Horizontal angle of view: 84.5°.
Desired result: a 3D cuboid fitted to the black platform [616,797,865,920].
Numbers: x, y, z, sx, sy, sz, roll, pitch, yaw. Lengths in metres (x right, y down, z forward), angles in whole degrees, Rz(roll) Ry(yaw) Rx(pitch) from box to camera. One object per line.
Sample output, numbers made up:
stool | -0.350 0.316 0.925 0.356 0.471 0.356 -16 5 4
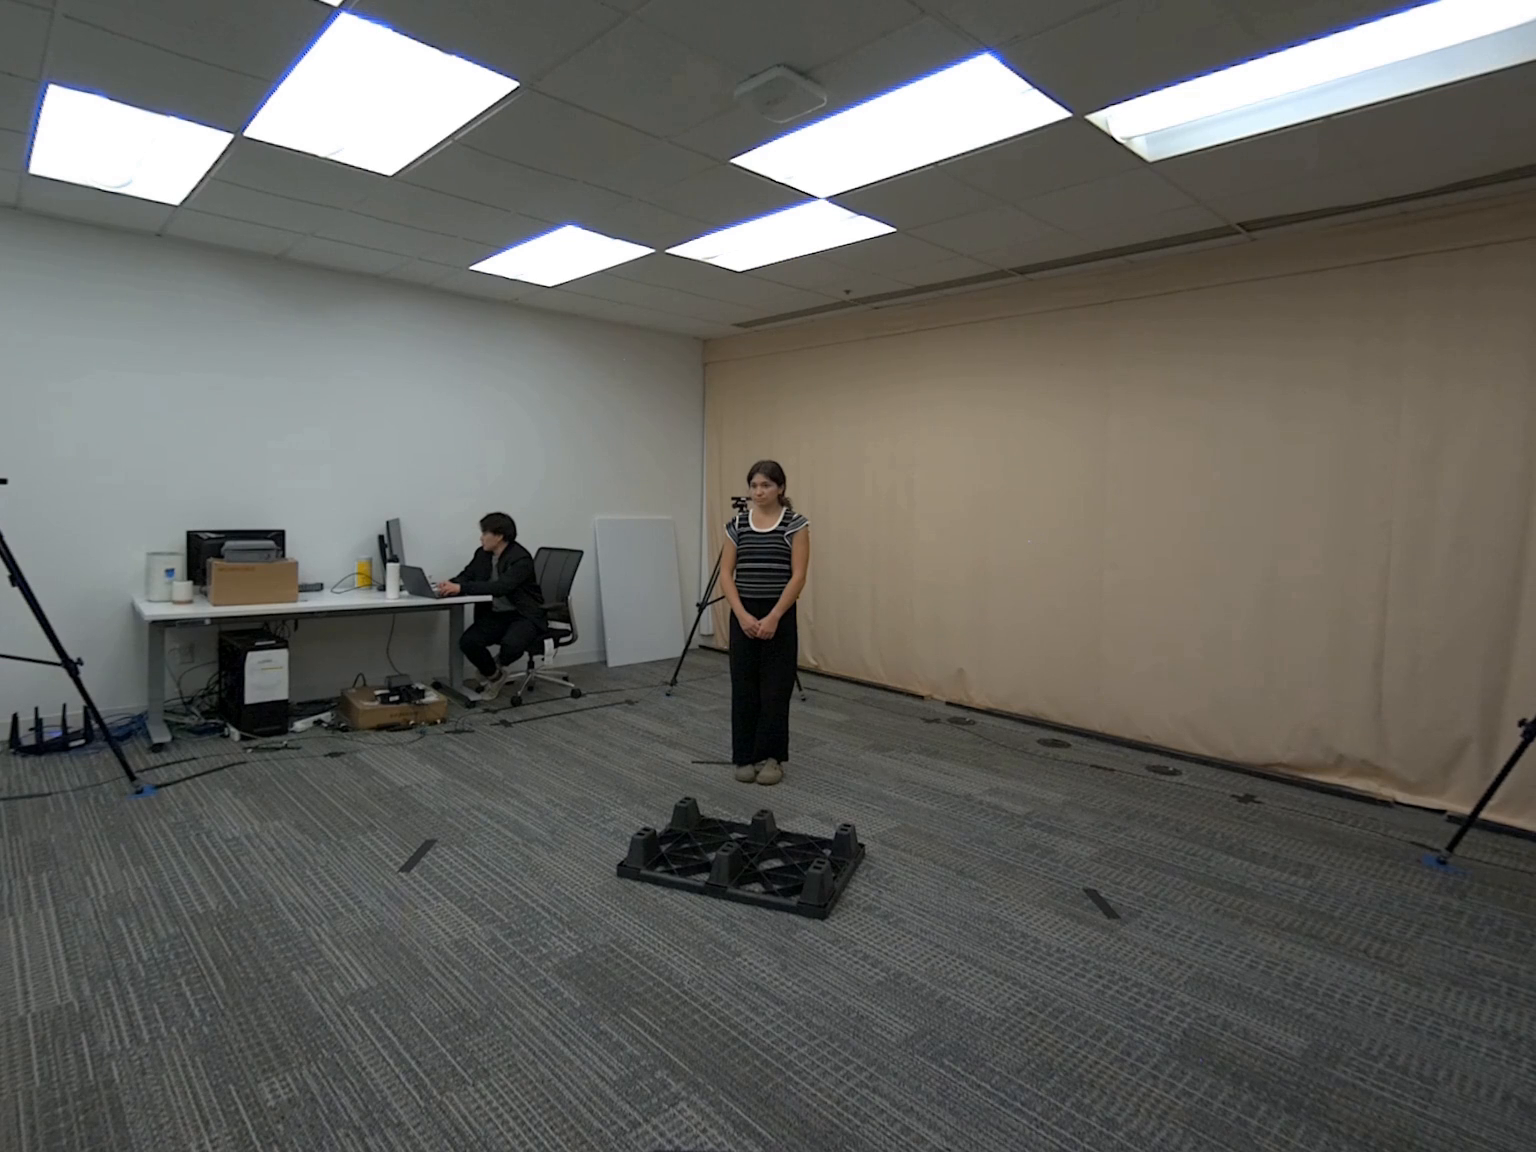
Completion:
black platform | -0.091 1.033 3.205 0.819 0.143 0.597 3 6 21
